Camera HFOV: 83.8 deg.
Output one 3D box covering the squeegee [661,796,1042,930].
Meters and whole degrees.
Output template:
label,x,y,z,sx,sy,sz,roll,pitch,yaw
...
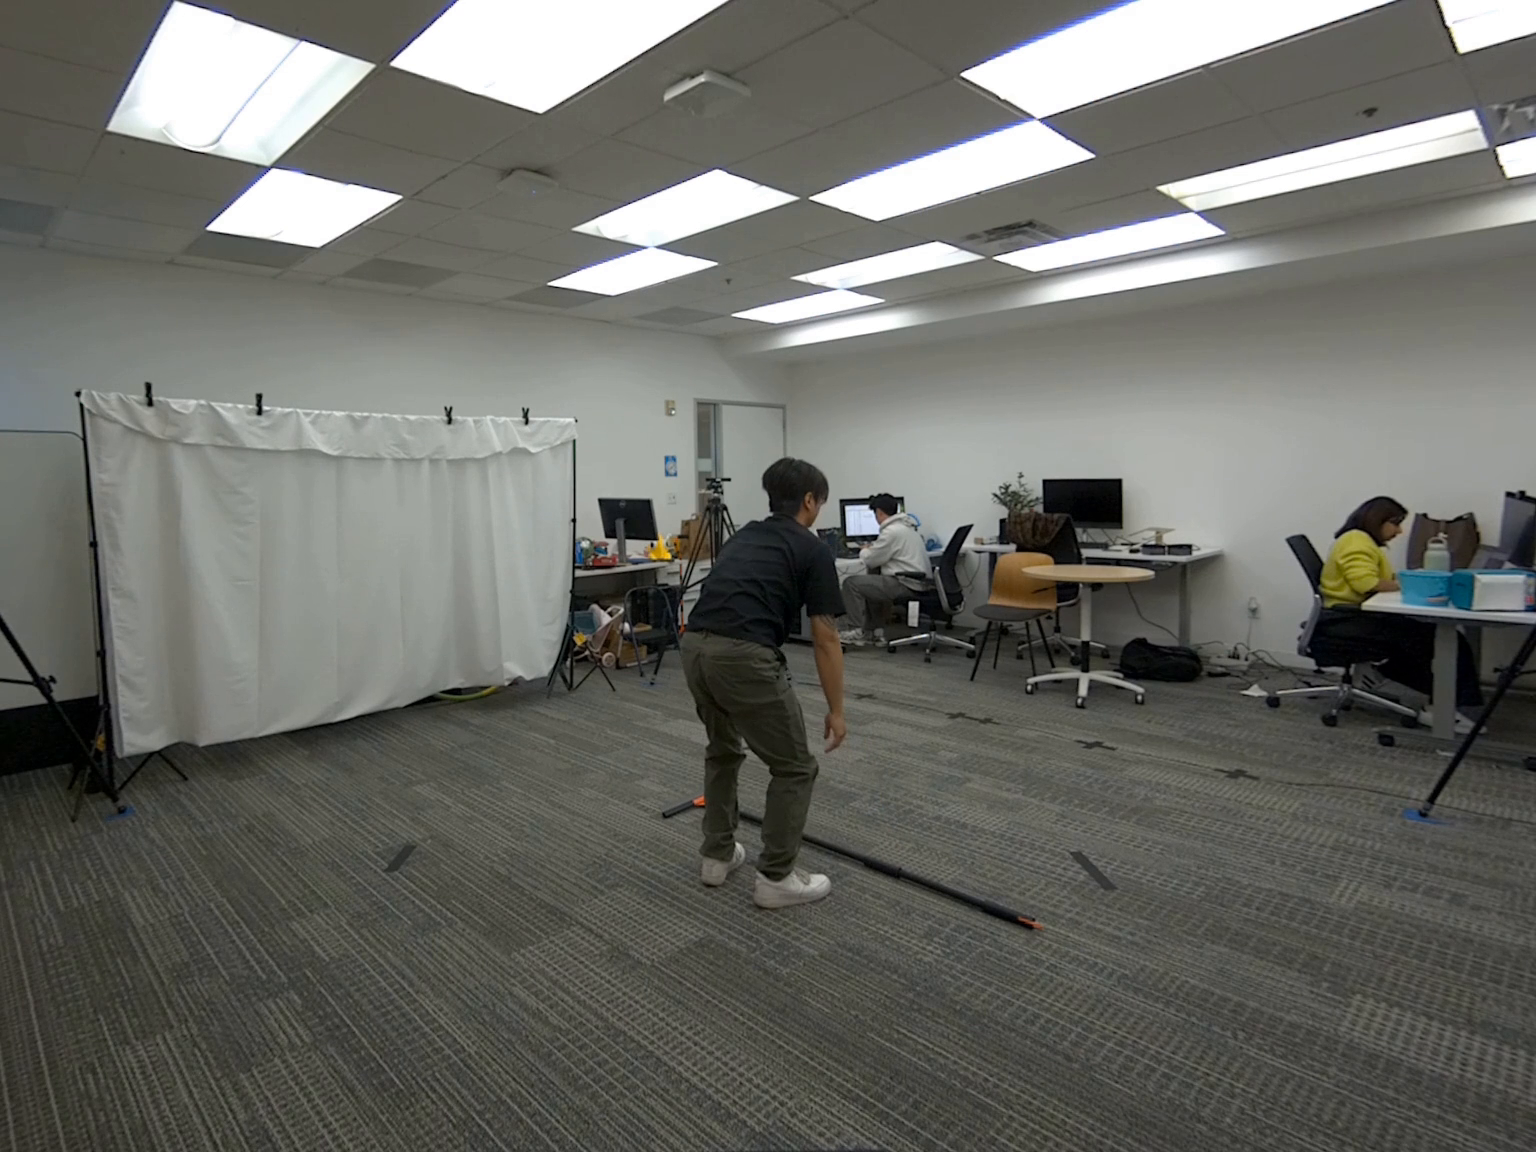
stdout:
label,x,y,z,sx,sy,sz,roll,pitch,yaw
squeegee,0.254,0.994,3.146,1.586,0.052,0.426,6,11,44
